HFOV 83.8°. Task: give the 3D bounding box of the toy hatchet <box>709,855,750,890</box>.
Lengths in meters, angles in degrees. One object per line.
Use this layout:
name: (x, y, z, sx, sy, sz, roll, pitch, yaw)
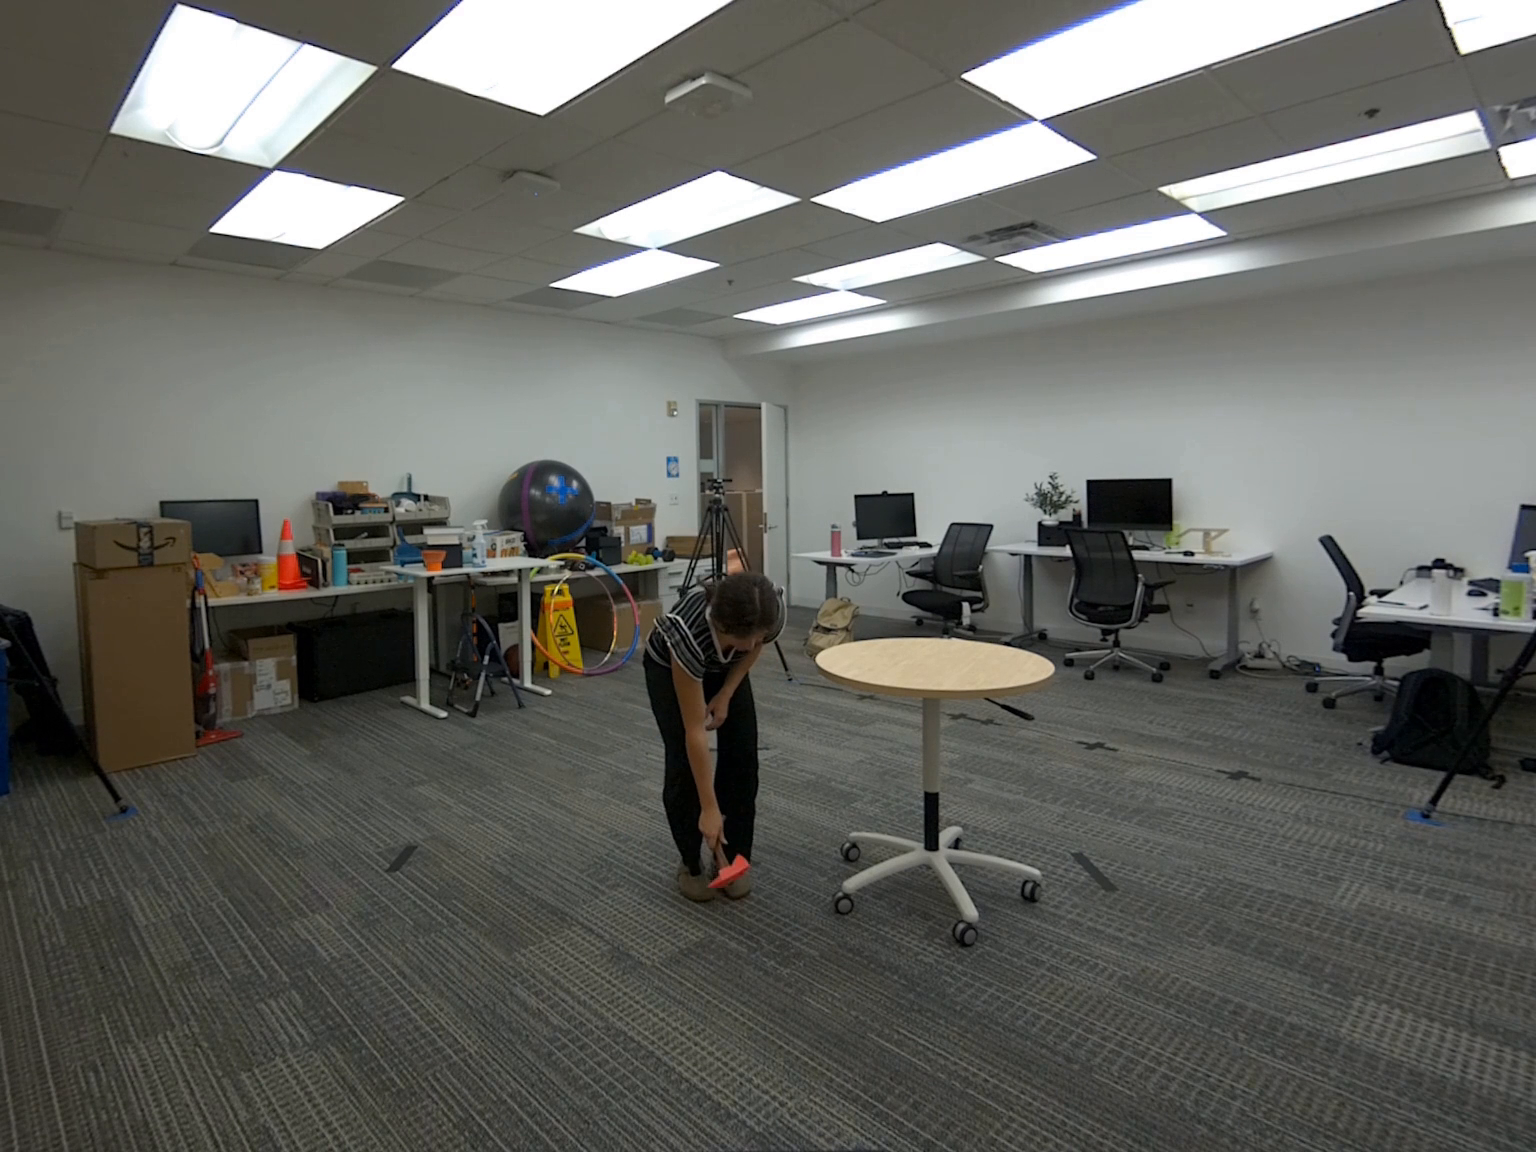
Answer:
toy hatchet: (-0.118, 0.829, 2.618, 0.132, 0.029, 0.276, -23, 27, 13)
